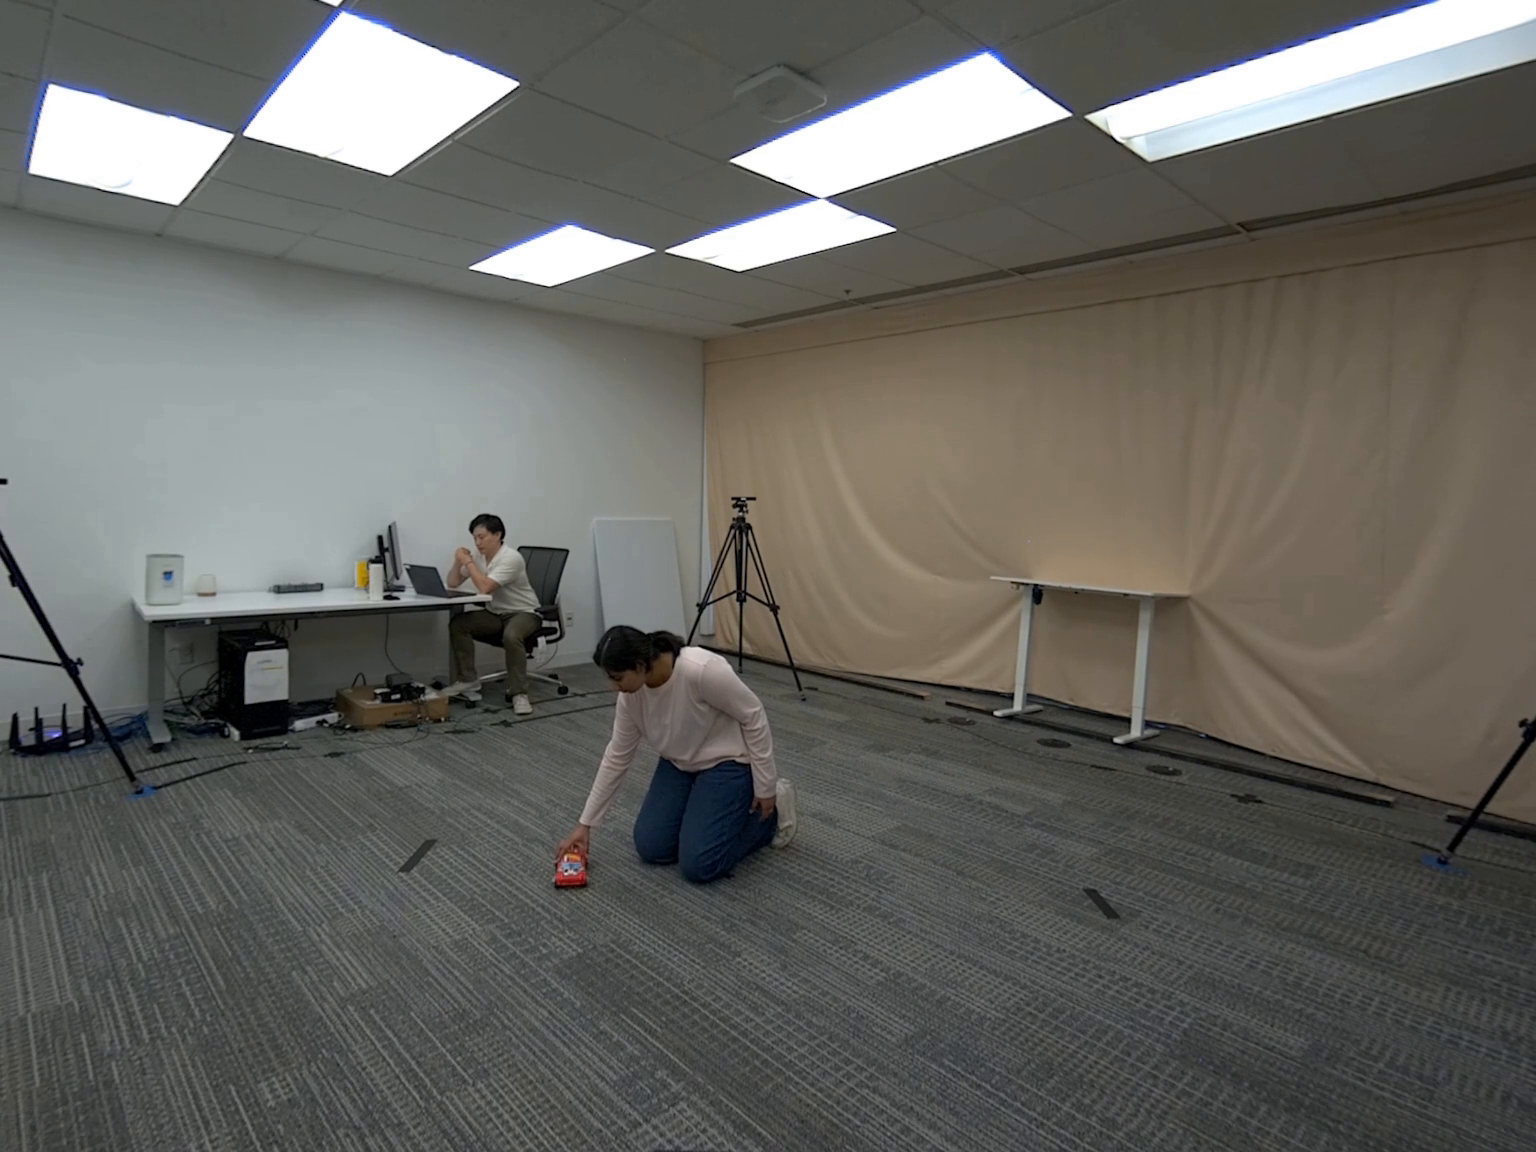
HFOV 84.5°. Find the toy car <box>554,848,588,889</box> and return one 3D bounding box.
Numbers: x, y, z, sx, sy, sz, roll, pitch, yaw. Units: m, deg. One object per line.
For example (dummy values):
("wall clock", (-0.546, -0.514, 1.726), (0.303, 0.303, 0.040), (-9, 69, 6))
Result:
("toy car", (-0.728, 1.066, 3.078), (0.129, 0.082, 0.259), (1, 15, -11))
